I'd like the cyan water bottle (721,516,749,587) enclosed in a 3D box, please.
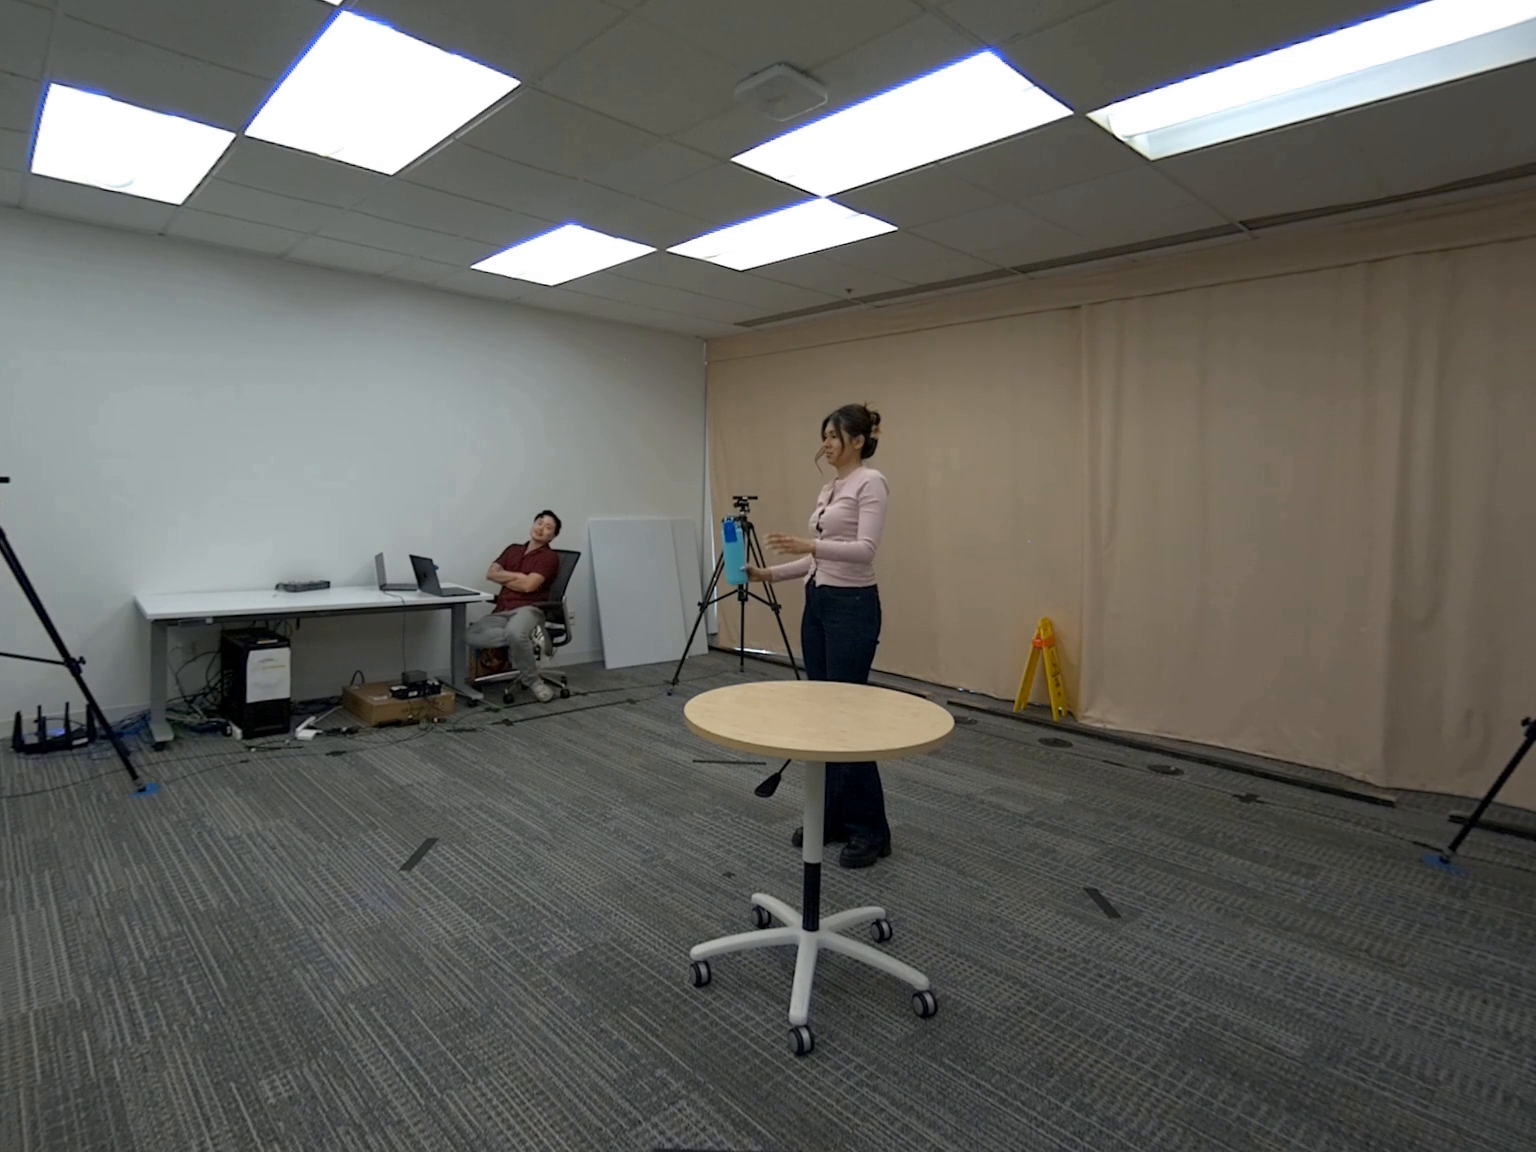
[{"bbox_3d":[-0.142,-0.111,3.437,0.092,0.282,0.093,-8,6,0],"label":"cyan water bottle"}]
